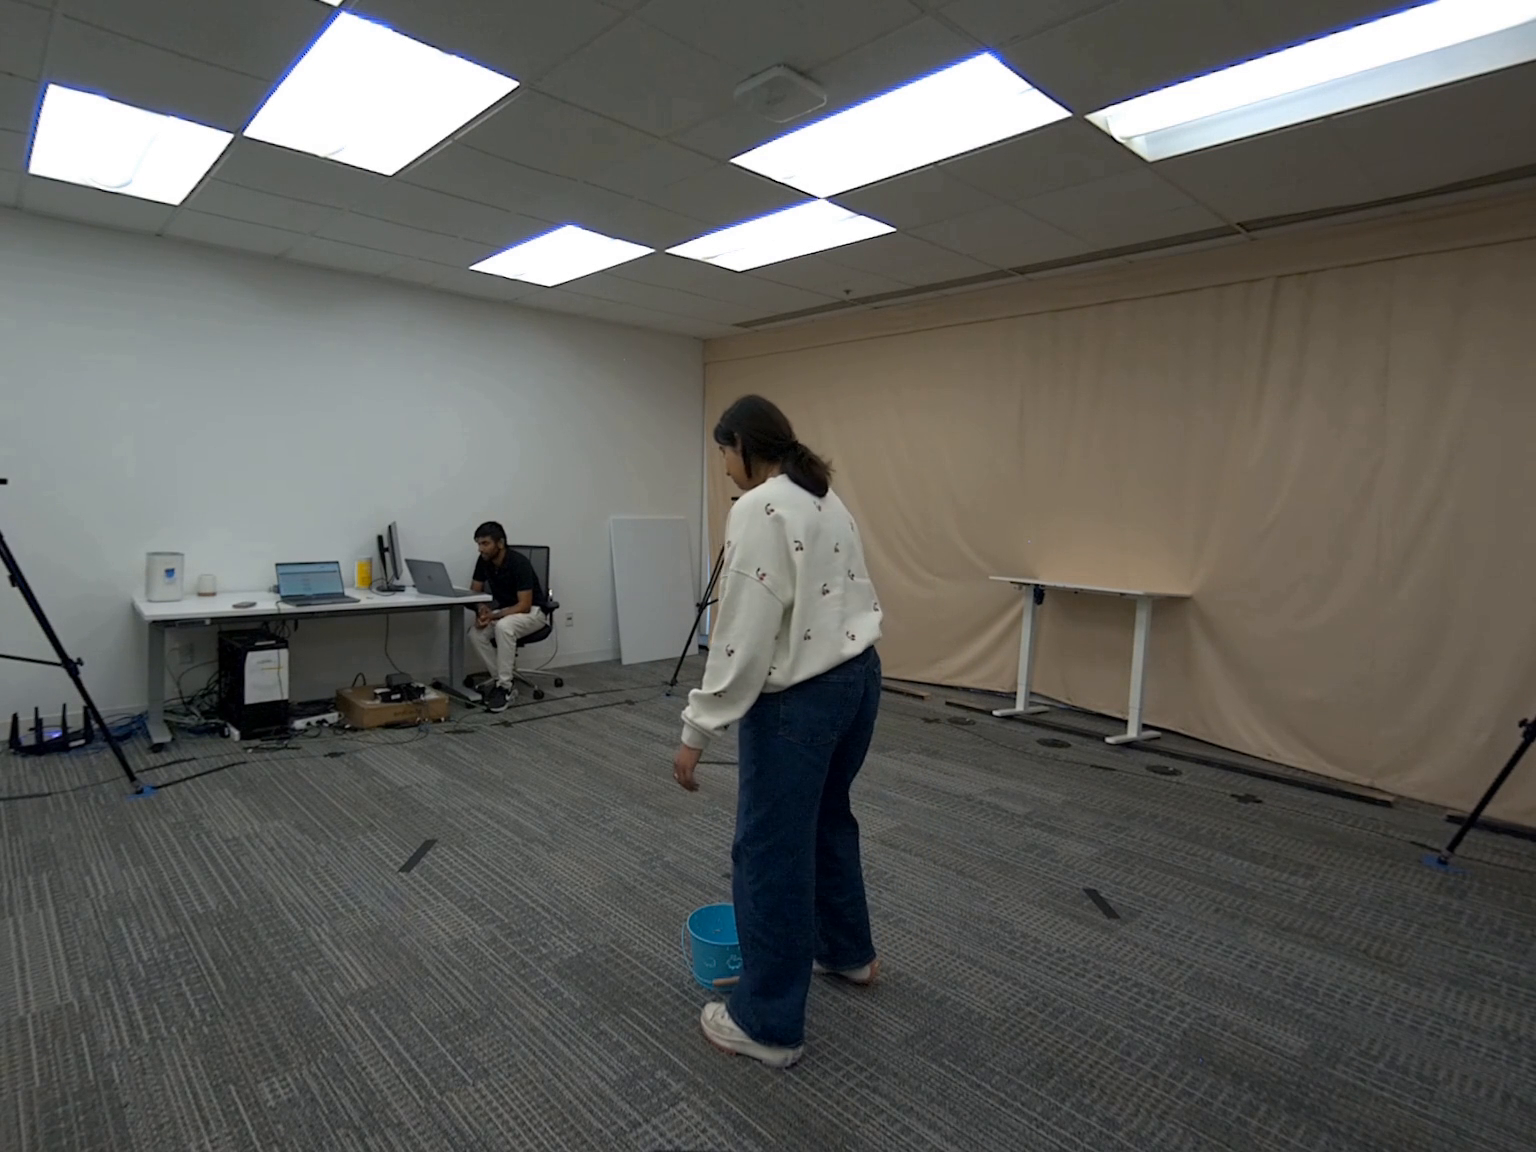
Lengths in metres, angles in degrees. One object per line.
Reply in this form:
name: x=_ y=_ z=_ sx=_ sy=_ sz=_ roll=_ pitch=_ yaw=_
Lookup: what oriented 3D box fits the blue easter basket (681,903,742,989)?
blue easter basket: x=-0.132 y=1.085 z=2.467 sx=0.243 sy=0.155 sz=0.244 roll=0 pitch=5 yaw=-1
